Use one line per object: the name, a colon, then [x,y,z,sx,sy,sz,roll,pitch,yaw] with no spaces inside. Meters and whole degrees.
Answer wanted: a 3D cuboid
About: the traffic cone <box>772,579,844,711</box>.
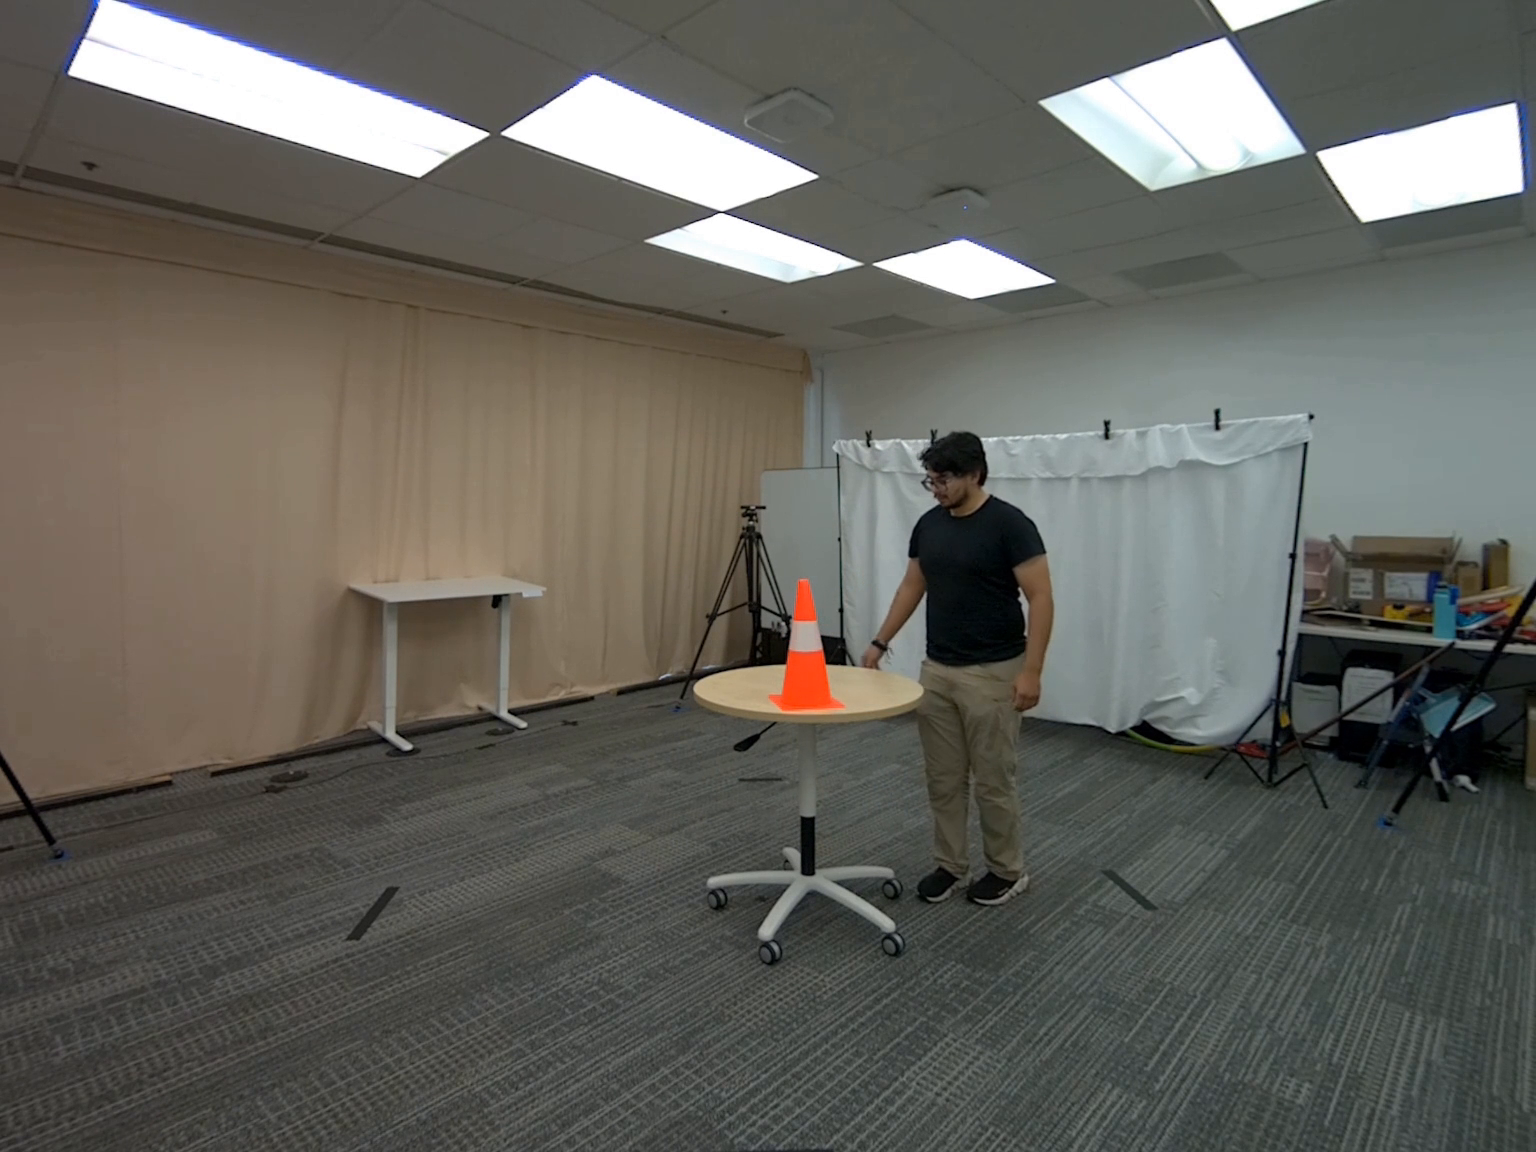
traffic cone: [0.128,0.207,2.598,0.200,0.383,0.208,0,2,-15]
